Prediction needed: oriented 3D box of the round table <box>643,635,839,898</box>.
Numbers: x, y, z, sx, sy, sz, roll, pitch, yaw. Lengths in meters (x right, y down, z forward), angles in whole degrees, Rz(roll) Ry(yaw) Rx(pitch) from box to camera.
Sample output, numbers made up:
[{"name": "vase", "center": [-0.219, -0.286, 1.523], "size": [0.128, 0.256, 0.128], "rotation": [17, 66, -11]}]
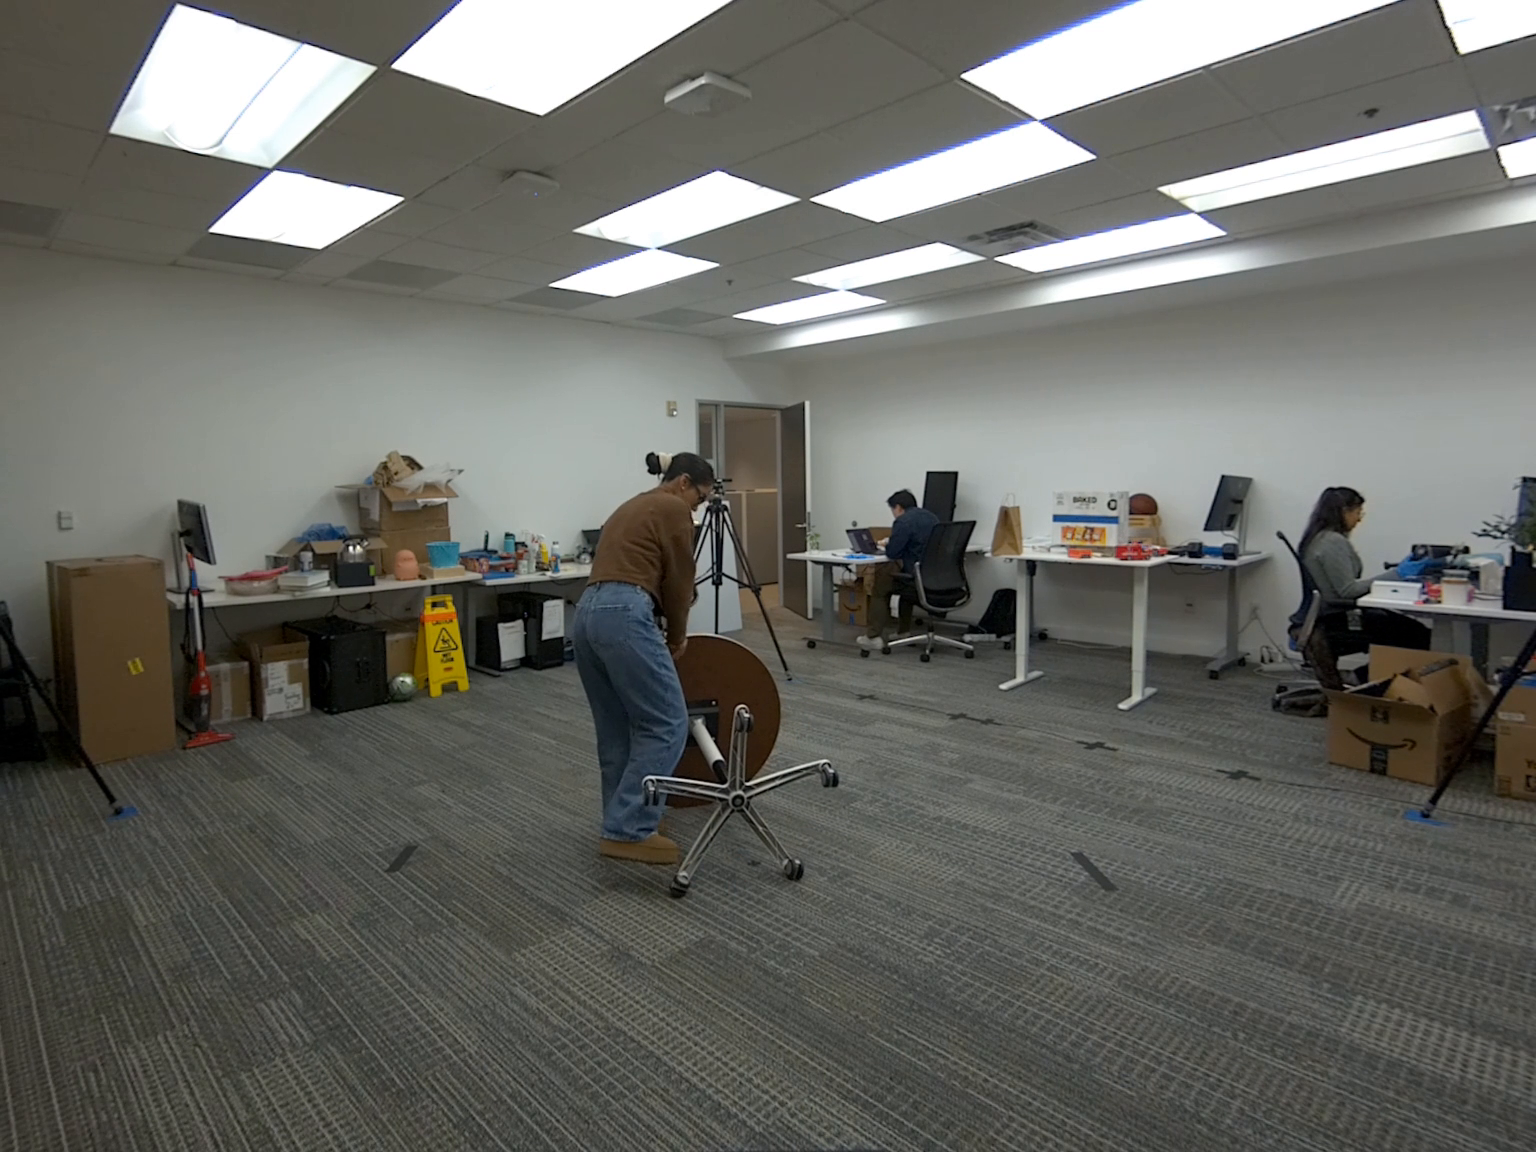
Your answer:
[{"name": "round table", "center": [-0.201, 0.709, 3.234], "size": [0.753, 0.756, 0.813], "rotation": [-2, 12, -15]}]
